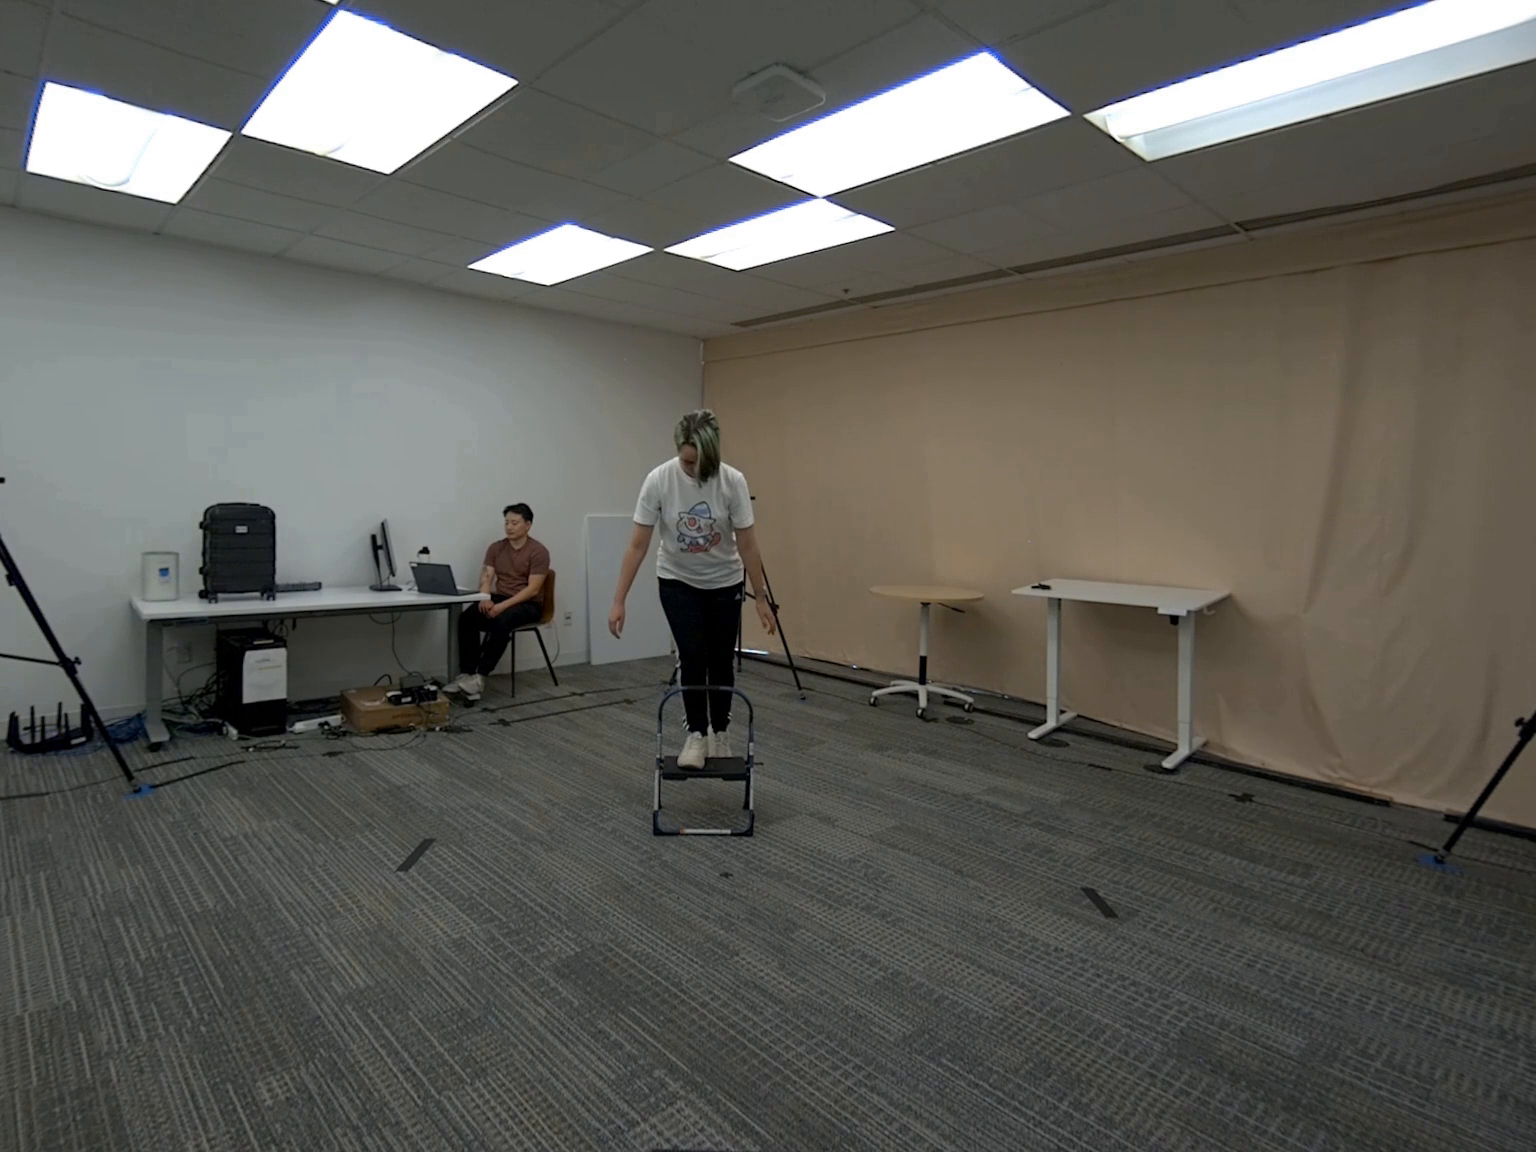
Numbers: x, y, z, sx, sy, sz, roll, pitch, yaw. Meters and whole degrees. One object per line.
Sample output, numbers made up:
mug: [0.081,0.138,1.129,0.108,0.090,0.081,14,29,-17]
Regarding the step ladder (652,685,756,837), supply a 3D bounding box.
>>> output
step ladder: [-0.280,0.761,3.614,0.429,0.605,0.351,2,3,-4]
